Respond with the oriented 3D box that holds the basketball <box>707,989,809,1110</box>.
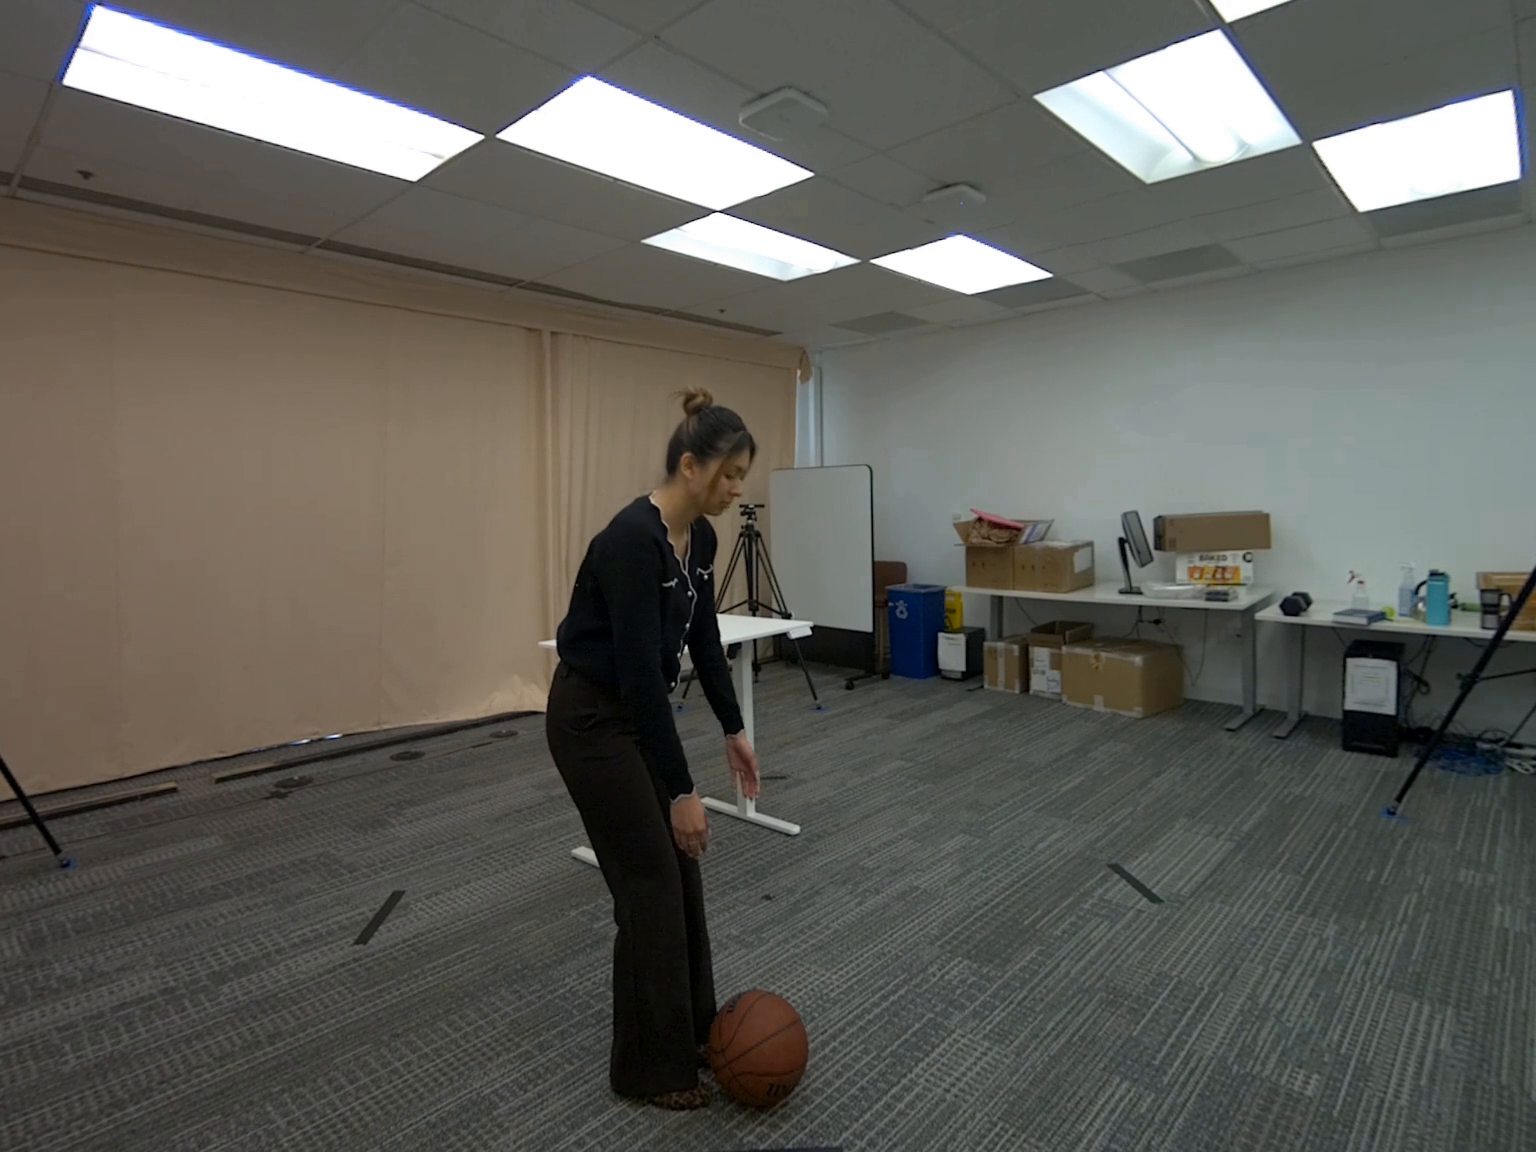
[{"bbox_3d":[-0.020,1.118,1.965,0.236,0.235,0.237,-1,4,-2],"label":"basketball"}]
